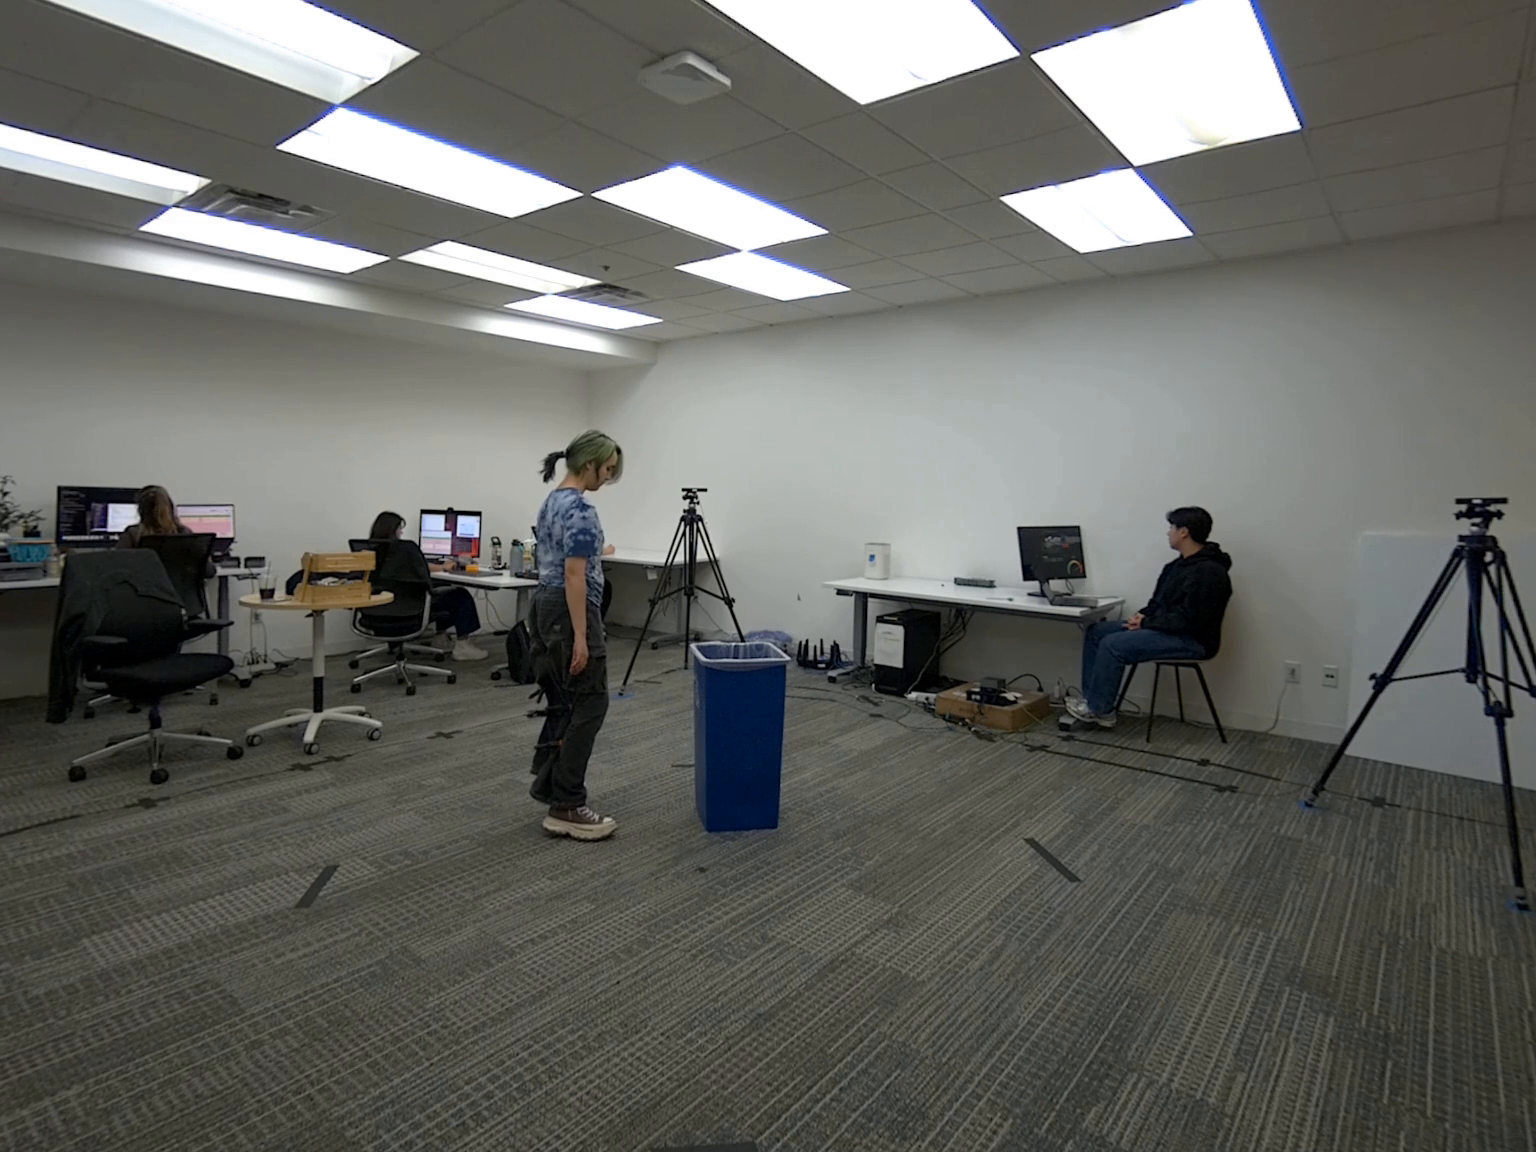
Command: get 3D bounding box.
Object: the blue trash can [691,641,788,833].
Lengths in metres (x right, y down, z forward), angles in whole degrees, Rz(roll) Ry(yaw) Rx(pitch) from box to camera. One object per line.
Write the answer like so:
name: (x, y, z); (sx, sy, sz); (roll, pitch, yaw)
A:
blue trash can: (-0.138, 0.669, 3.597); (0.373, 0.712, 0.380); (0, 3, -13)
